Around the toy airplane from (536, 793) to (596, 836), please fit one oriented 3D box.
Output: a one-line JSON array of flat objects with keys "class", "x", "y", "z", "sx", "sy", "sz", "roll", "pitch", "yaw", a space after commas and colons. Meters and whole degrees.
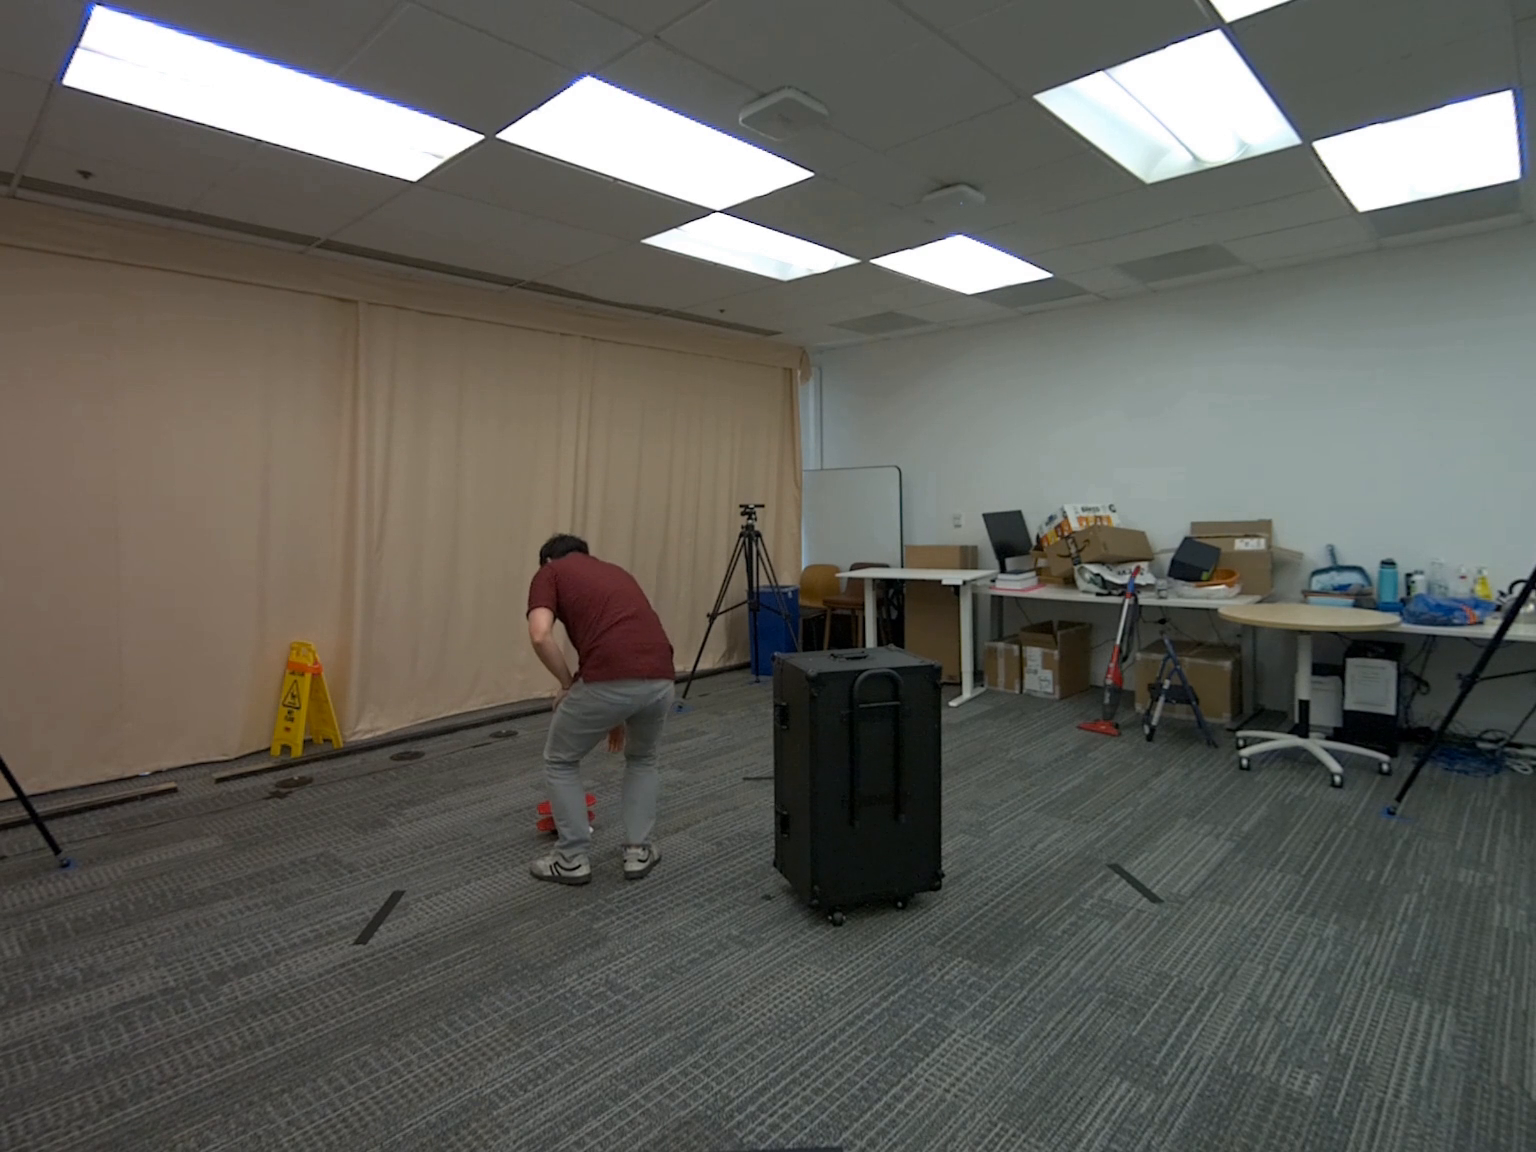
[{"class": "toy airplane", "x": -0.833, "y": 1.039, "z": 3.585, "sx": 0.266, "sy": 0.156, "sz": 0.245, "roll": 0, "pitch": 4, "yaw": 30}]
